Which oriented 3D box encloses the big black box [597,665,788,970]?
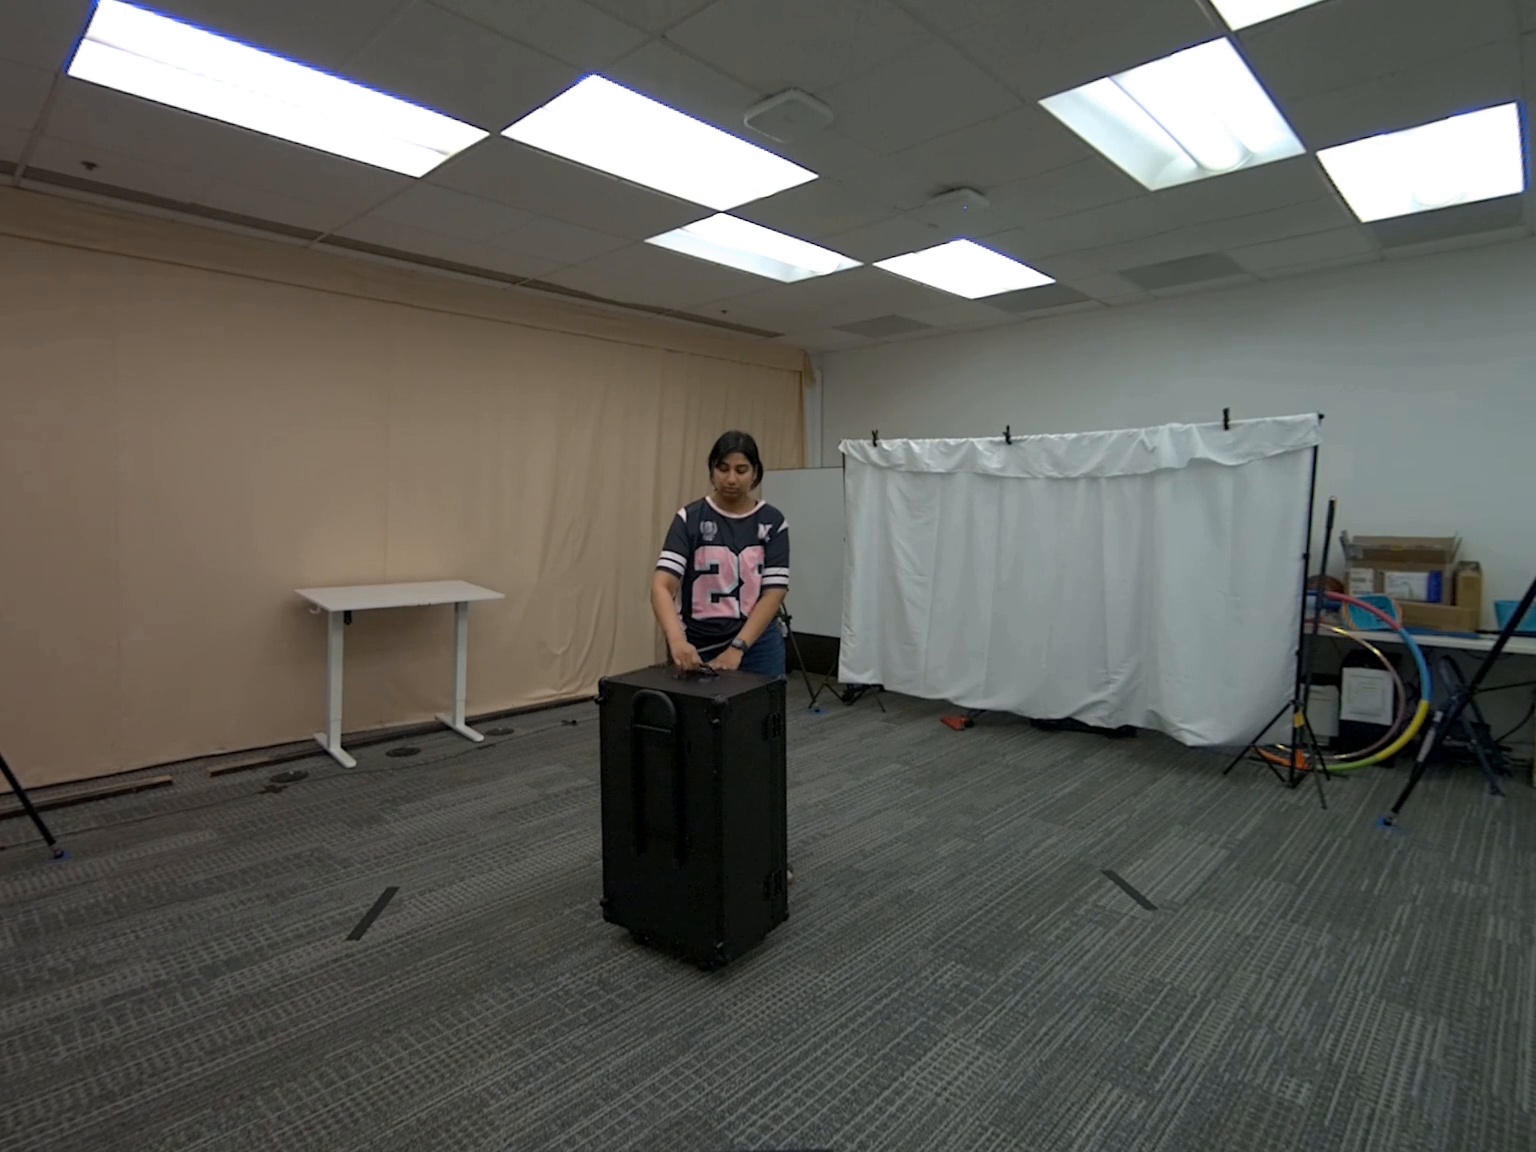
[{"bbox_3d":[-0.227,0.748,2.668,0.539,0.866,0.374,2,4,34],"label":"big black box"}]
